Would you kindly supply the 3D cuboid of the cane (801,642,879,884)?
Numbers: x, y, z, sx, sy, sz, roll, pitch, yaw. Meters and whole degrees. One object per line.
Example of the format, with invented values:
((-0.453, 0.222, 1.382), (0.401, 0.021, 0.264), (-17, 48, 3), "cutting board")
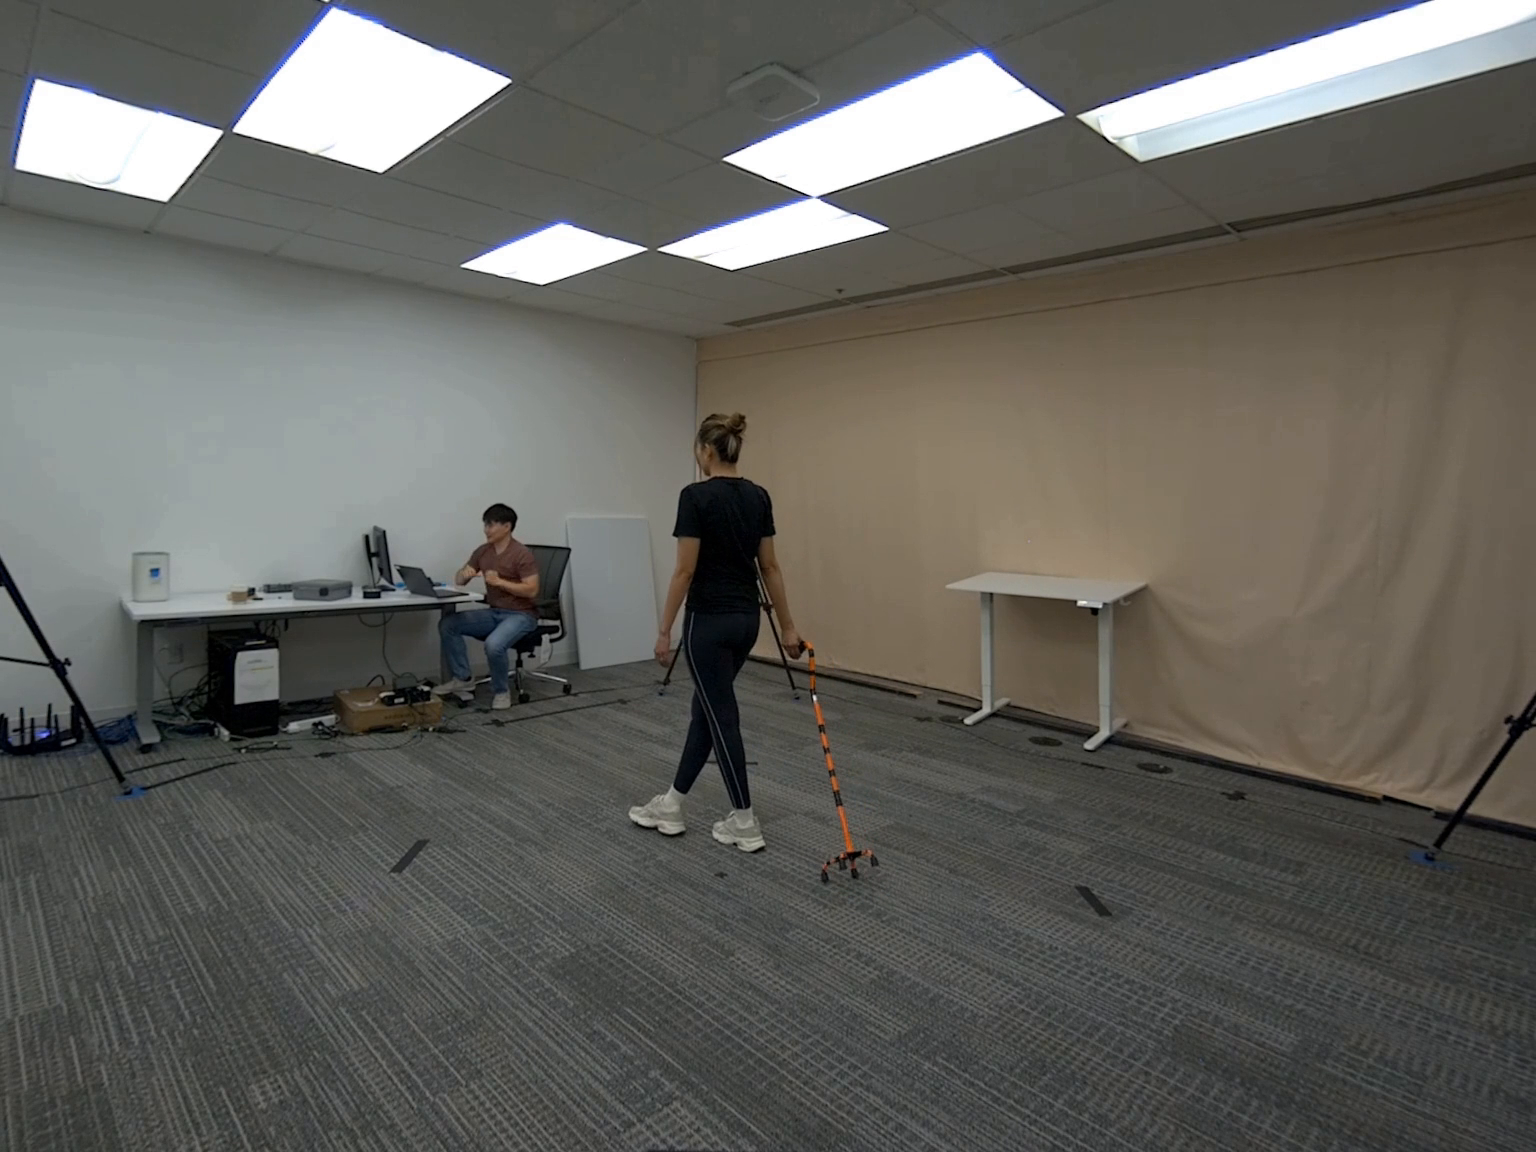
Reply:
((0.210, 0.670, 3.235), (0.149, 0.929, 0.204), (1, -32, -18), "cane")
